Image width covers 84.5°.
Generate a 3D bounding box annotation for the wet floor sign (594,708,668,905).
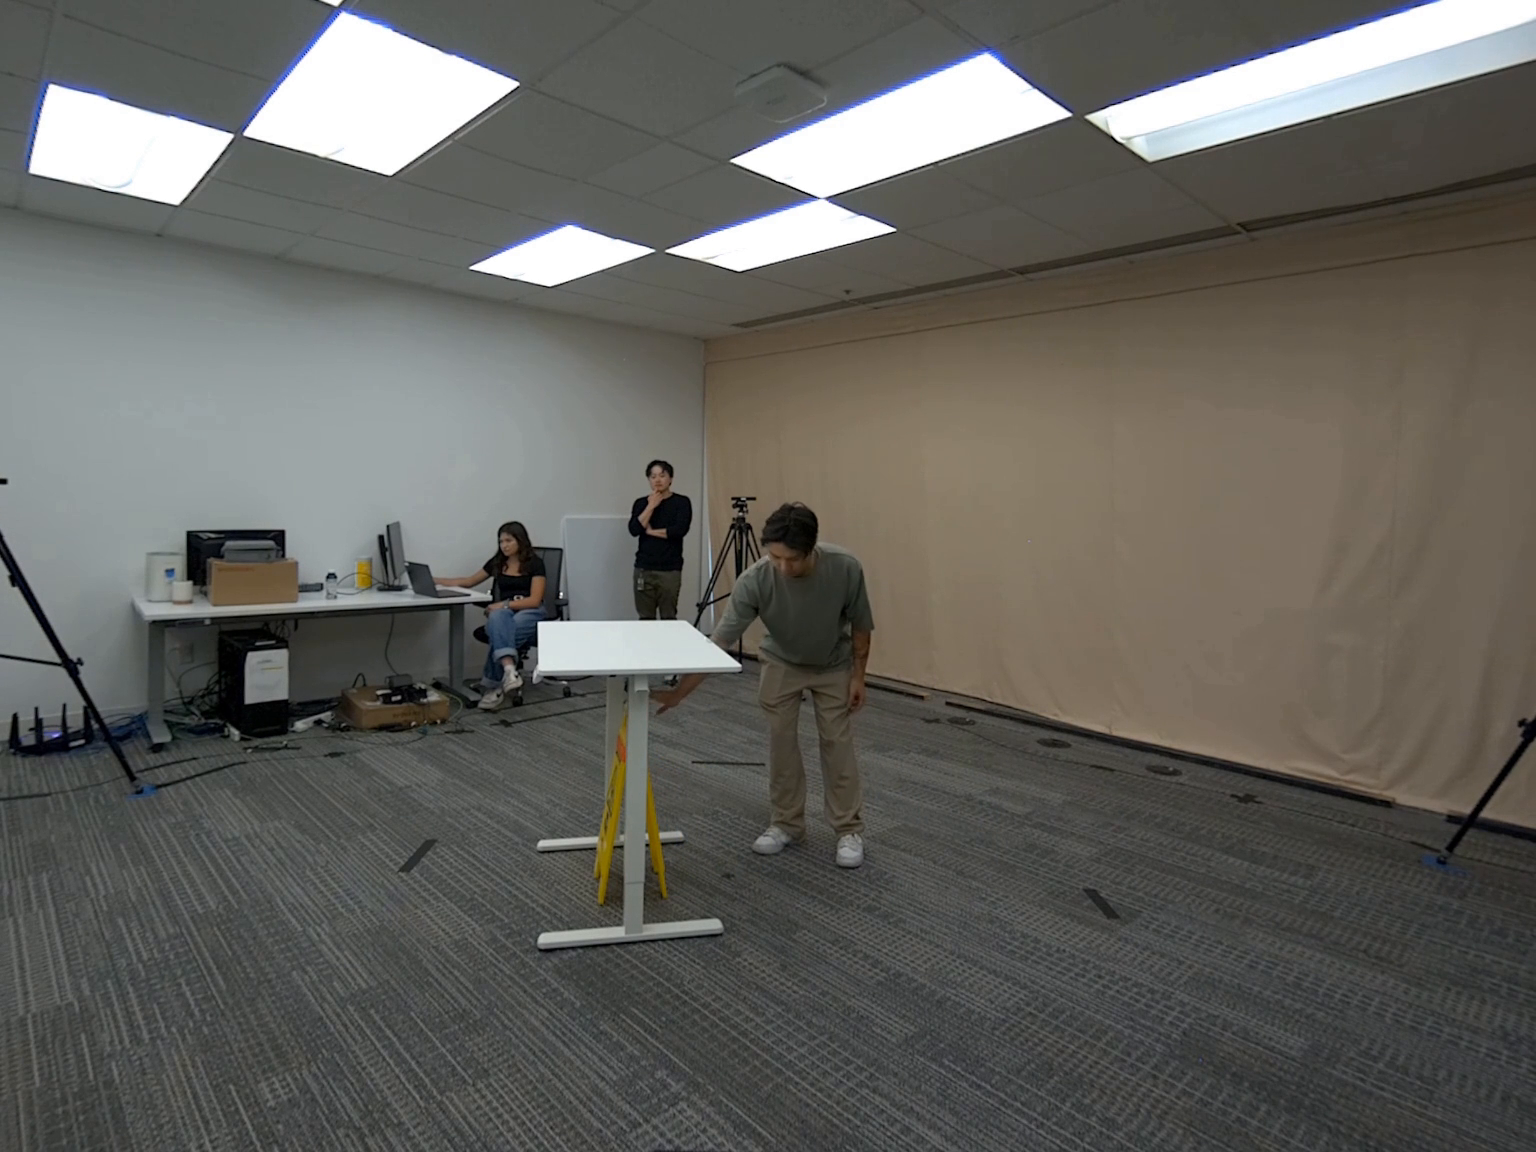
[{"bbox_3d":[-0.511,0.794,3.007,0.286,0.646,0.285,0,1,-14],"label":"wet floor sign"}]
